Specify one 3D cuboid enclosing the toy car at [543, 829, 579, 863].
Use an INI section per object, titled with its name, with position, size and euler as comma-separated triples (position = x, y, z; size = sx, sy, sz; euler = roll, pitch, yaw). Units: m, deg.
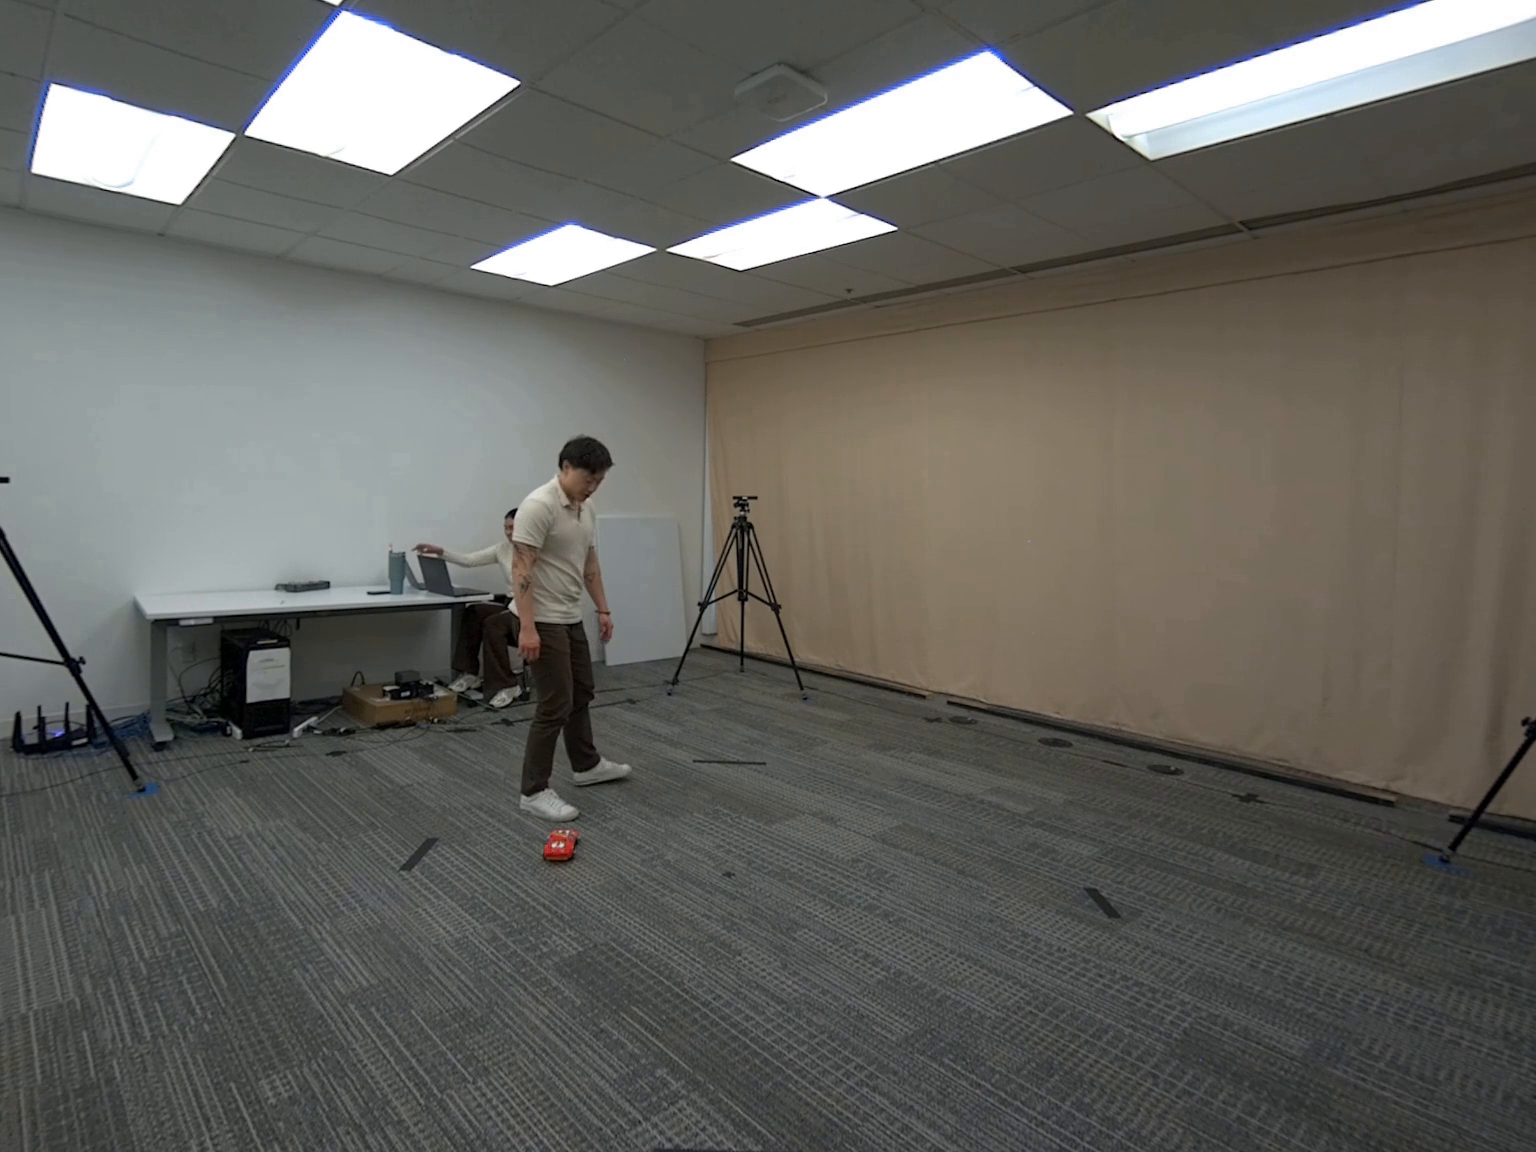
[toy car]
position = -0.810, 1.044, 3.251
size = 0.130, 0.083, 0.254
euler = 1, -6, -5
